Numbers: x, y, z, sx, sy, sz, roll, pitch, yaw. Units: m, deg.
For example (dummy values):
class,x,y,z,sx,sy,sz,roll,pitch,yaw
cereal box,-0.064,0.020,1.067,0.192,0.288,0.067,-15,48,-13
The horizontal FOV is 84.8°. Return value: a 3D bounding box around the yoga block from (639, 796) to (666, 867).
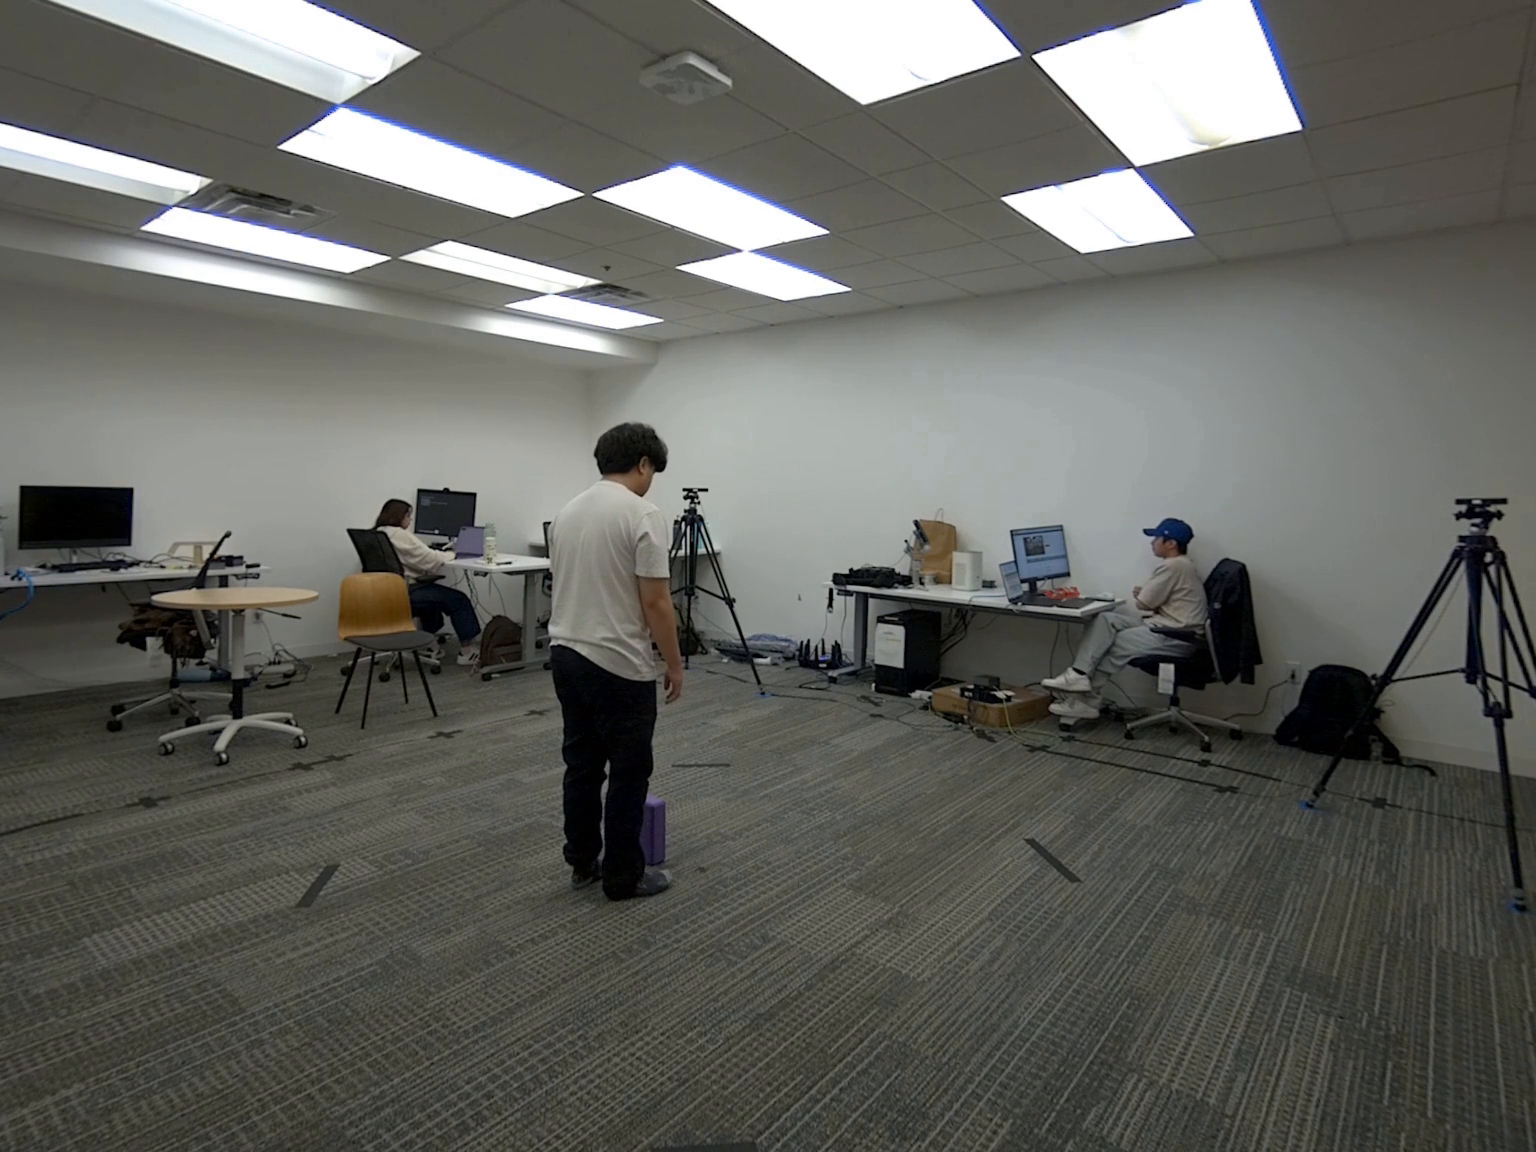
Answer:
class,x,y,z,sx,sy,sz,roll,pitch,yaw
yoga block,-0.469,0.942,3.190,0.154,0.229,0.074,2,2,39
